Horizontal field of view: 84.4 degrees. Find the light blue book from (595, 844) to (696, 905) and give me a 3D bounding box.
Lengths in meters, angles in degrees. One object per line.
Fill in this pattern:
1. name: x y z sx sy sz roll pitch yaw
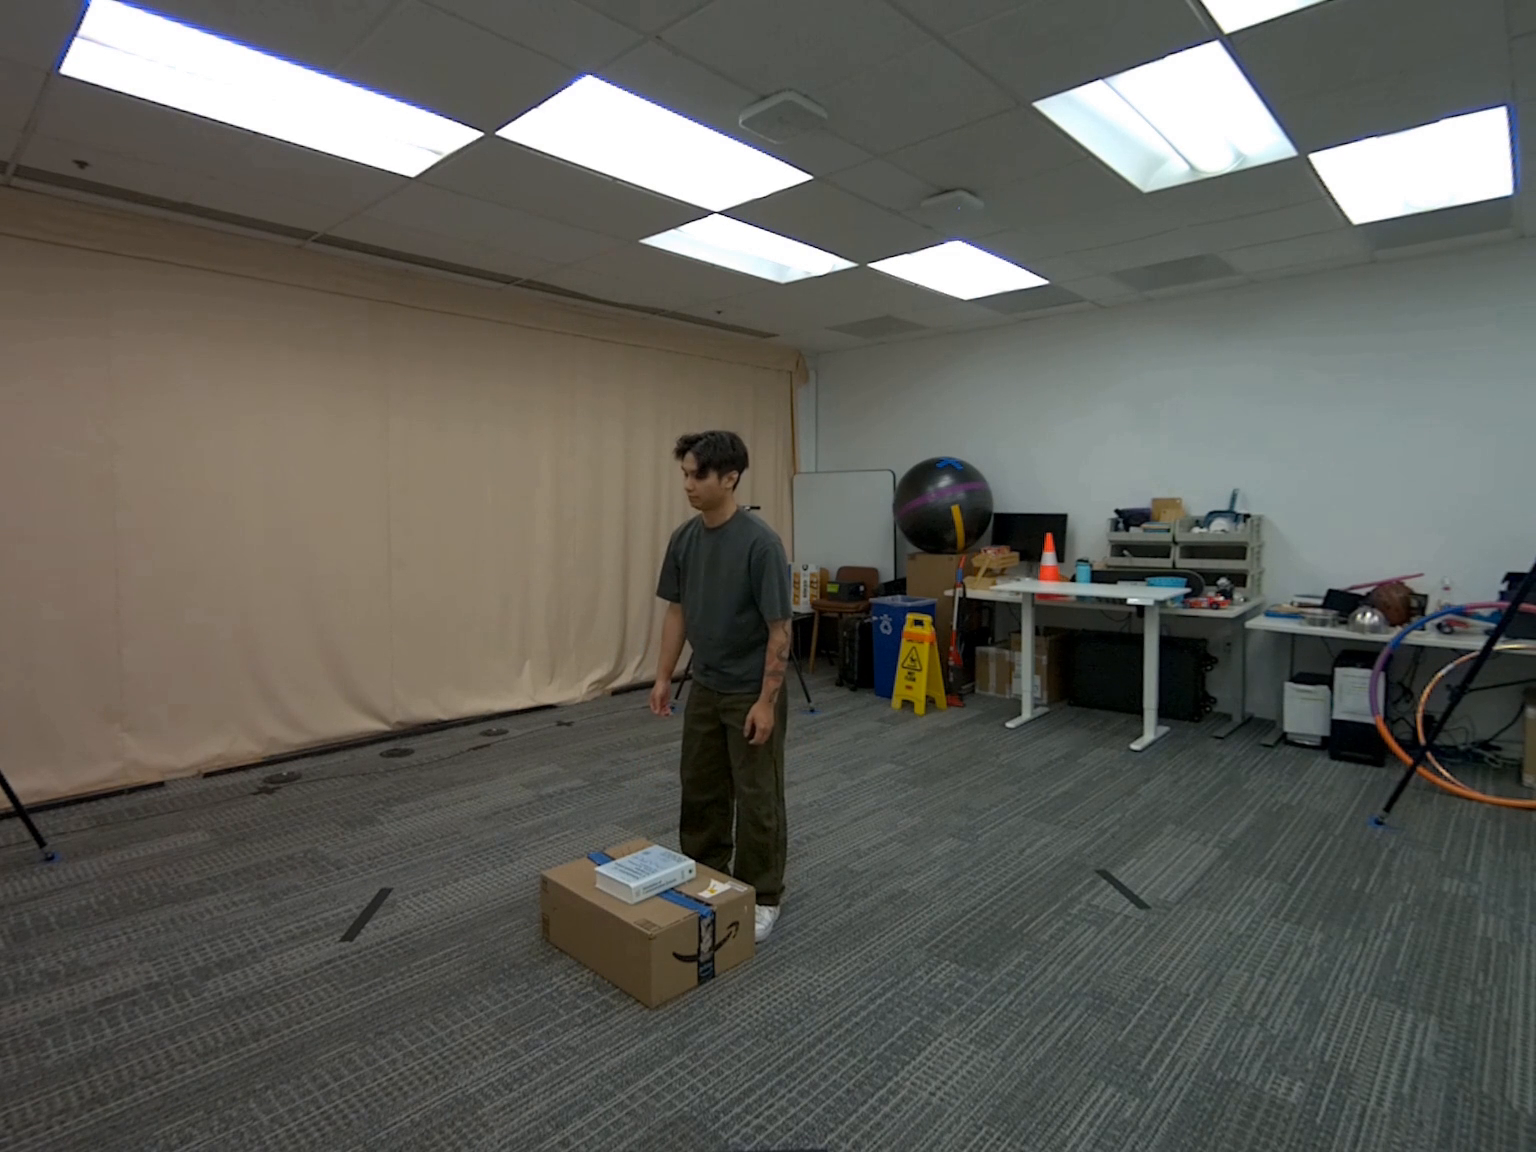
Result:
1. light blue book: -0.390 0.937 2.649 0.198 0.059 0.253 3 5 43
